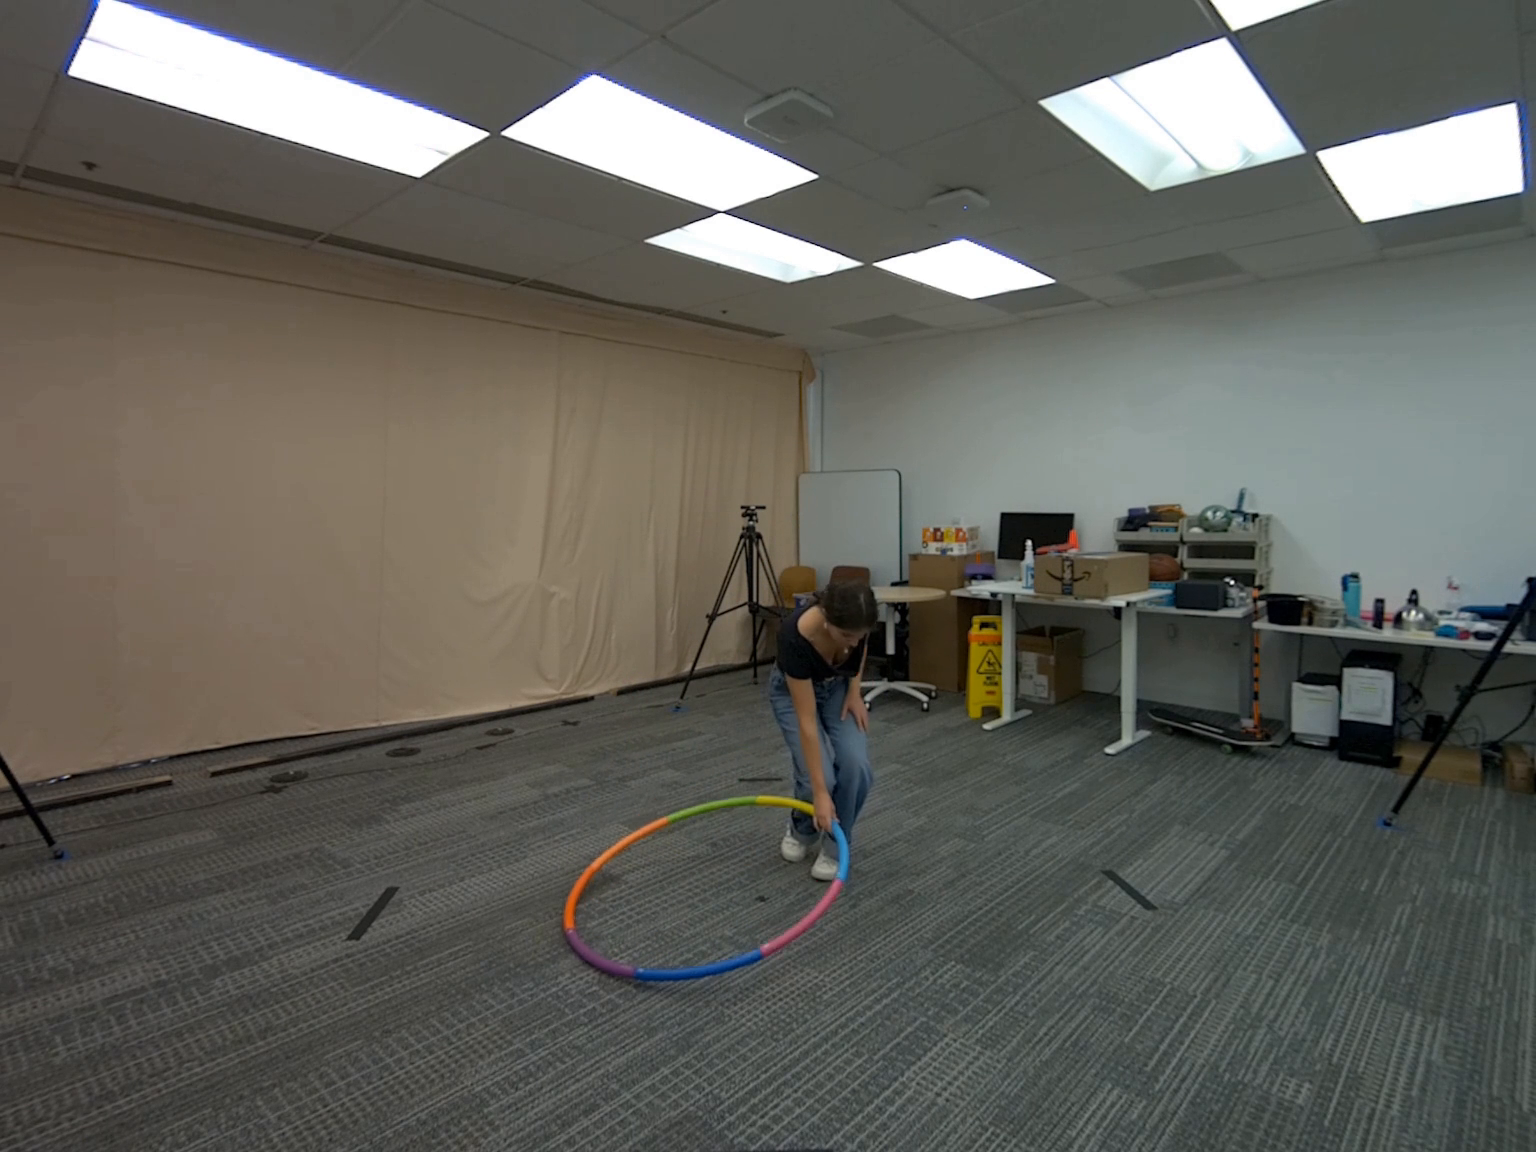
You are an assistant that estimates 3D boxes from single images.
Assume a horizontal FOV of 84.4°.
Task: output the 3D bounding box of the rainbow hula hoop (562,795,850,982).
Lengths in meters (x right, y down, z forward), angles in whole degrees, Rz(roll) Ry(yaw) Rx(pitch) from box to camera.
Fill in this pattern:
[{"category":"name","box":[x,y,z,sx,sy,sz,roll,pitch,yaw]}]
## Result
[{"category":"rainbow hula hoop","box":[-0.211,1.010,2.853,0.980,0.035,0.987,-14,13,1]}]
